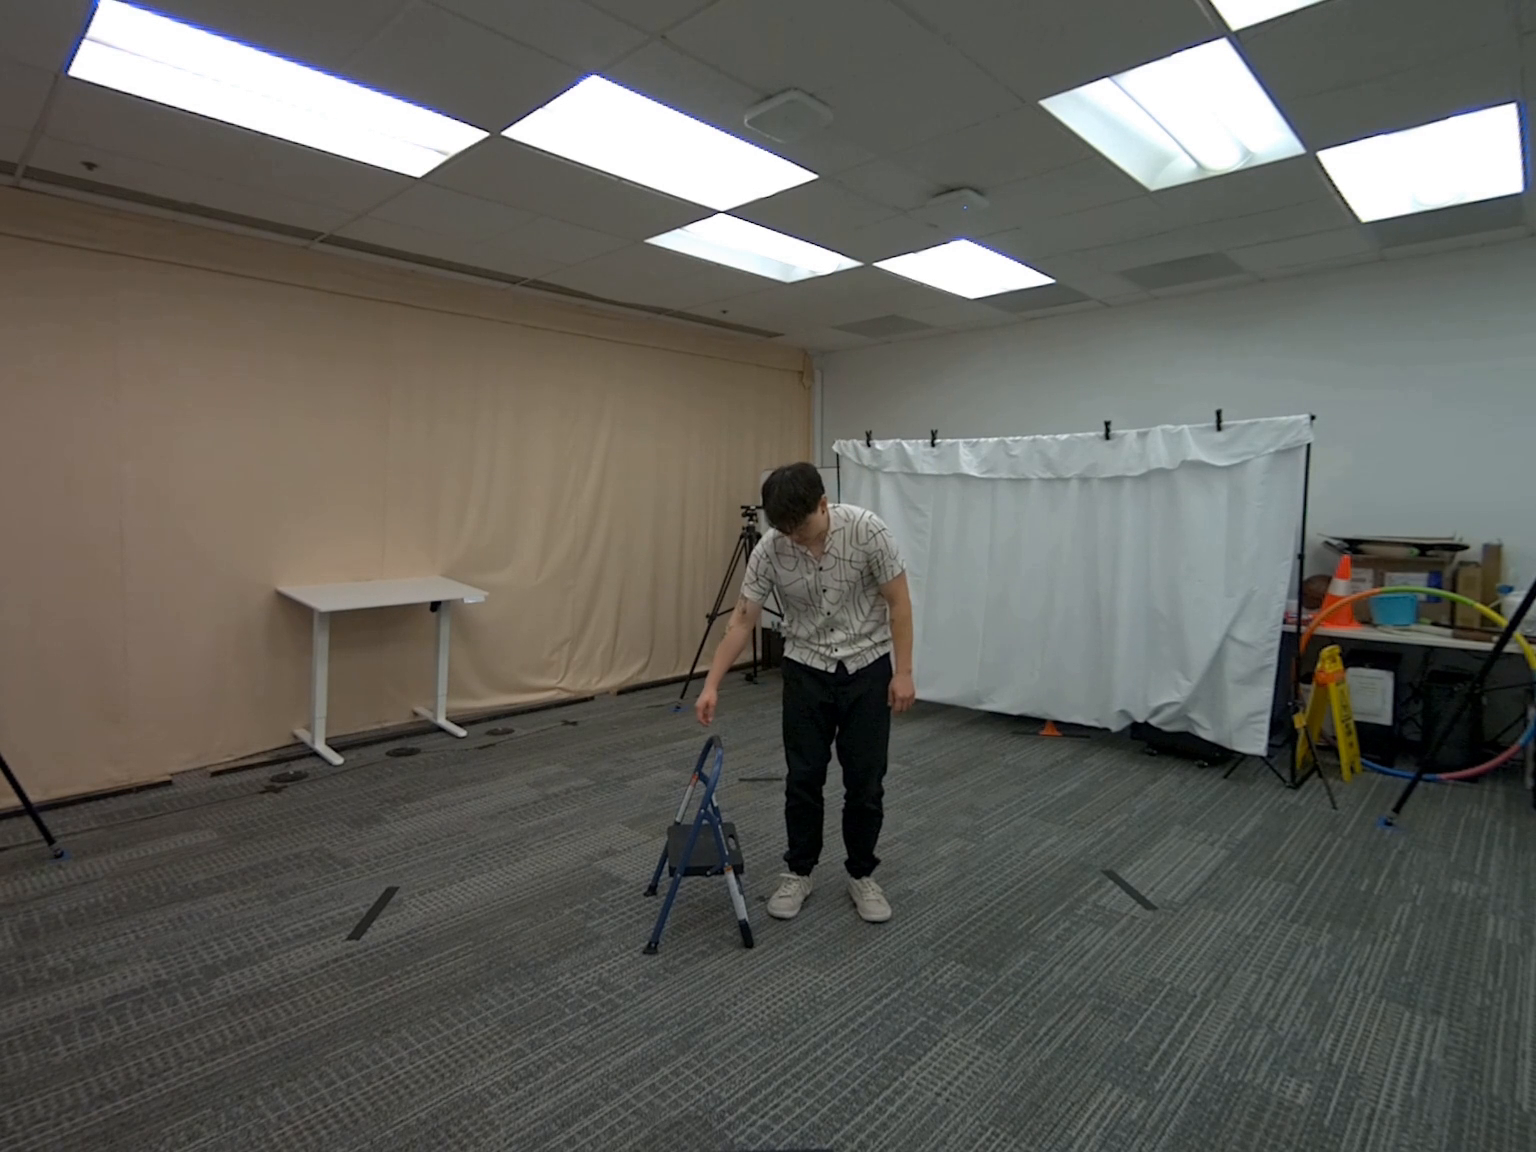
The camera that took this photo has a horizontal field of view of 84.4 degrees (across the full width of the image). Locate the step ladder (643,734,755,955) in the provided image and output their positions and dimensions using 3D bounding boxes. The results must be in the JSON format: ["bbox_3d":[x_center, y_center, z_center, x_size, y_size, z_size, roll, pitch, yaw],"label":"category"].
[{"bbox_3d":[-0.240,0.865,2.818,0.346,0.605,0.435,-2,4,-9],"label":"step ladder"}]
